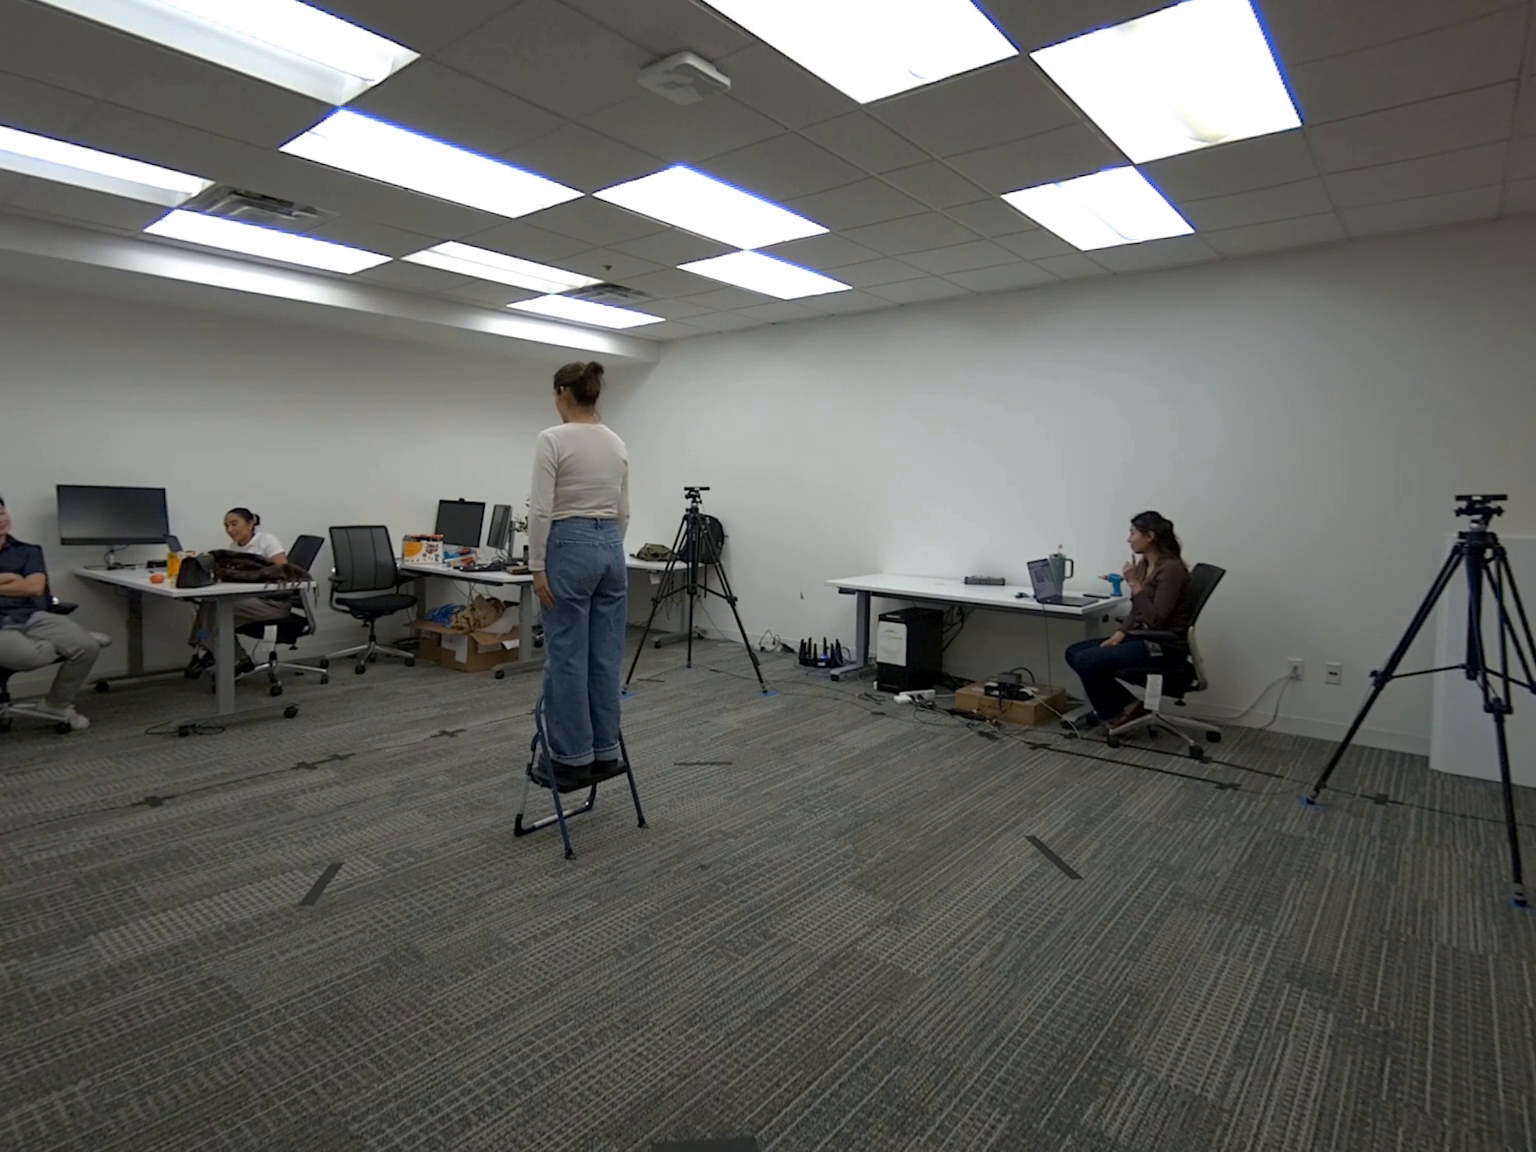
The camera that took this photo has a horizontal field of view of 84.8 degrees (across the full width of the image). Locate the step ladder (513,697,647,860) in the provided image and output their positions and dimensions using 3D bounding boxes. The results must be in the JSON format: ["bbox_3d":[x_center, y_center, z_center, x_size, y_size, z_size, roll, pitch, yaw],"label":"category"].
[{"bbox_3d":[-0.759,0.726,3.423,0.360,0.605,0.418,2,3,36],"label":"step ladder"}]
